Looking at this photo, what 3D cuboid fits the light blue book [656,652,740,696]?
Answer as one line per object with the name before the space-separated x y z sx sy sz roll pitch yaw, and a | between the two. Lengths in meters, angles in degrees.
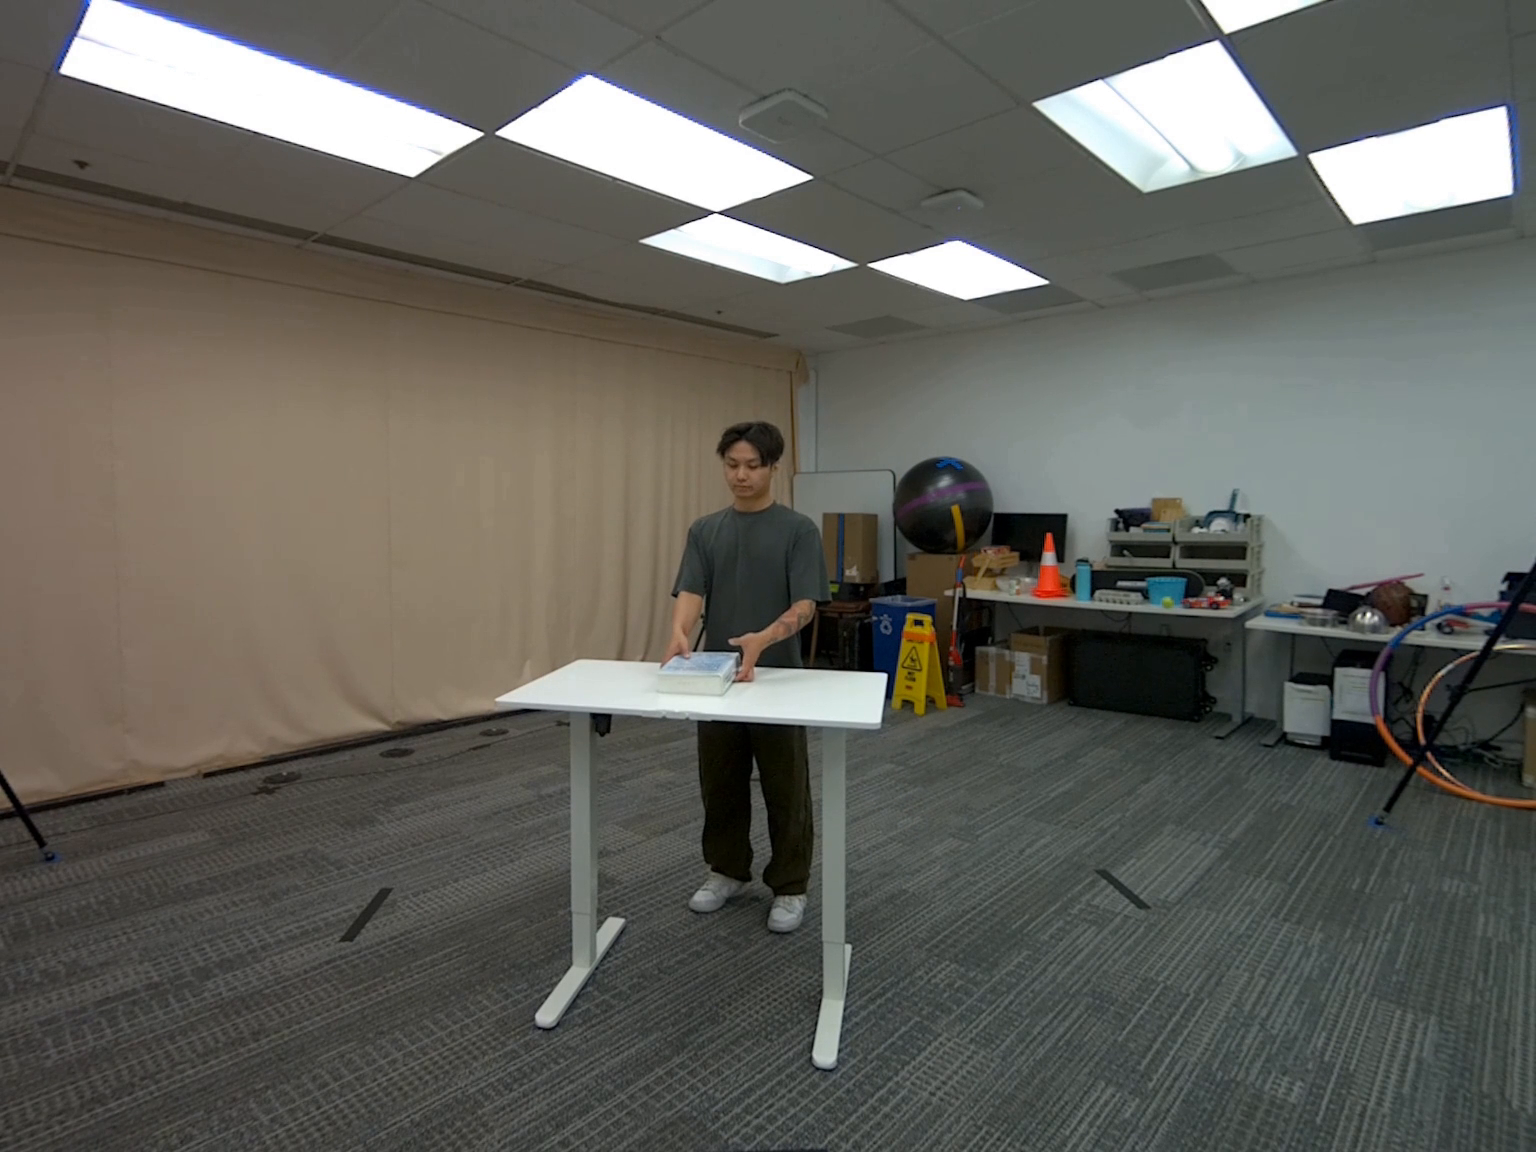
light blue book | -0.193 0.281 2.402 0.193 0.059 0.260 -1 7 7
